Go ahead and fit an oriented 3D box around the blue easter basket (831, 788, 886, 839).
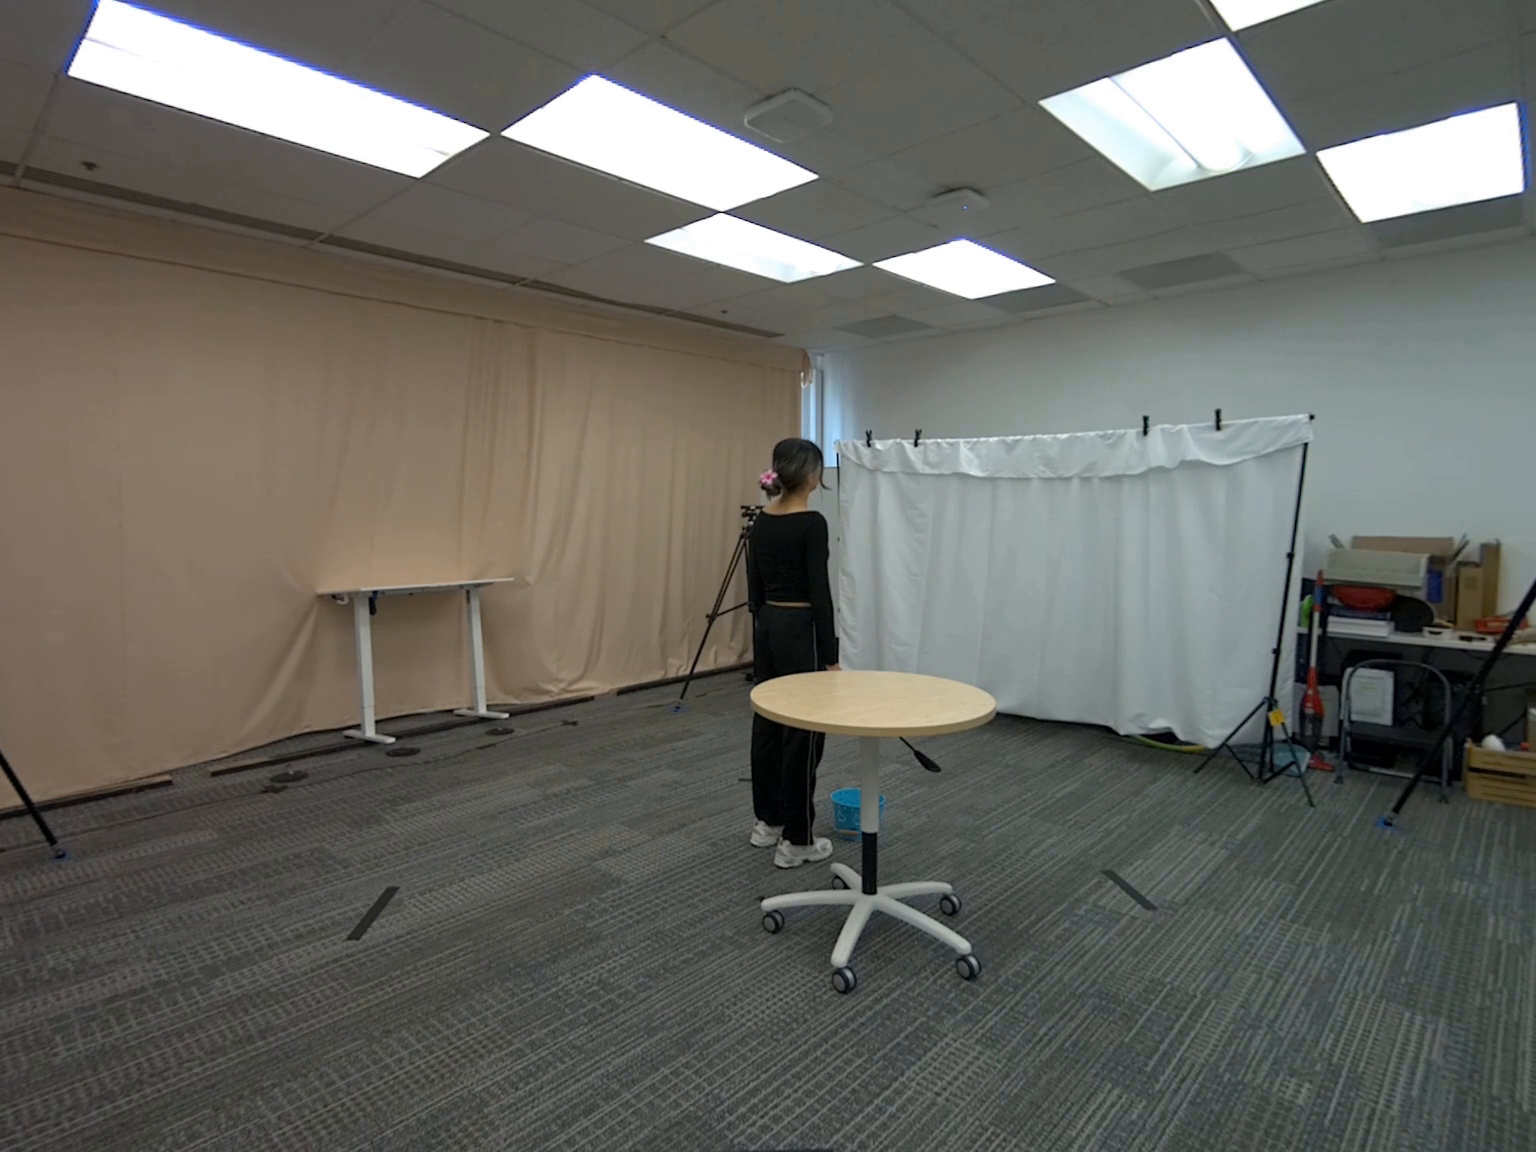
[{"bbox_3d":[0.379,1.019,3.589,0.243,0.155,0.244,0,3,-2],"label":"blue easter basket"}]
